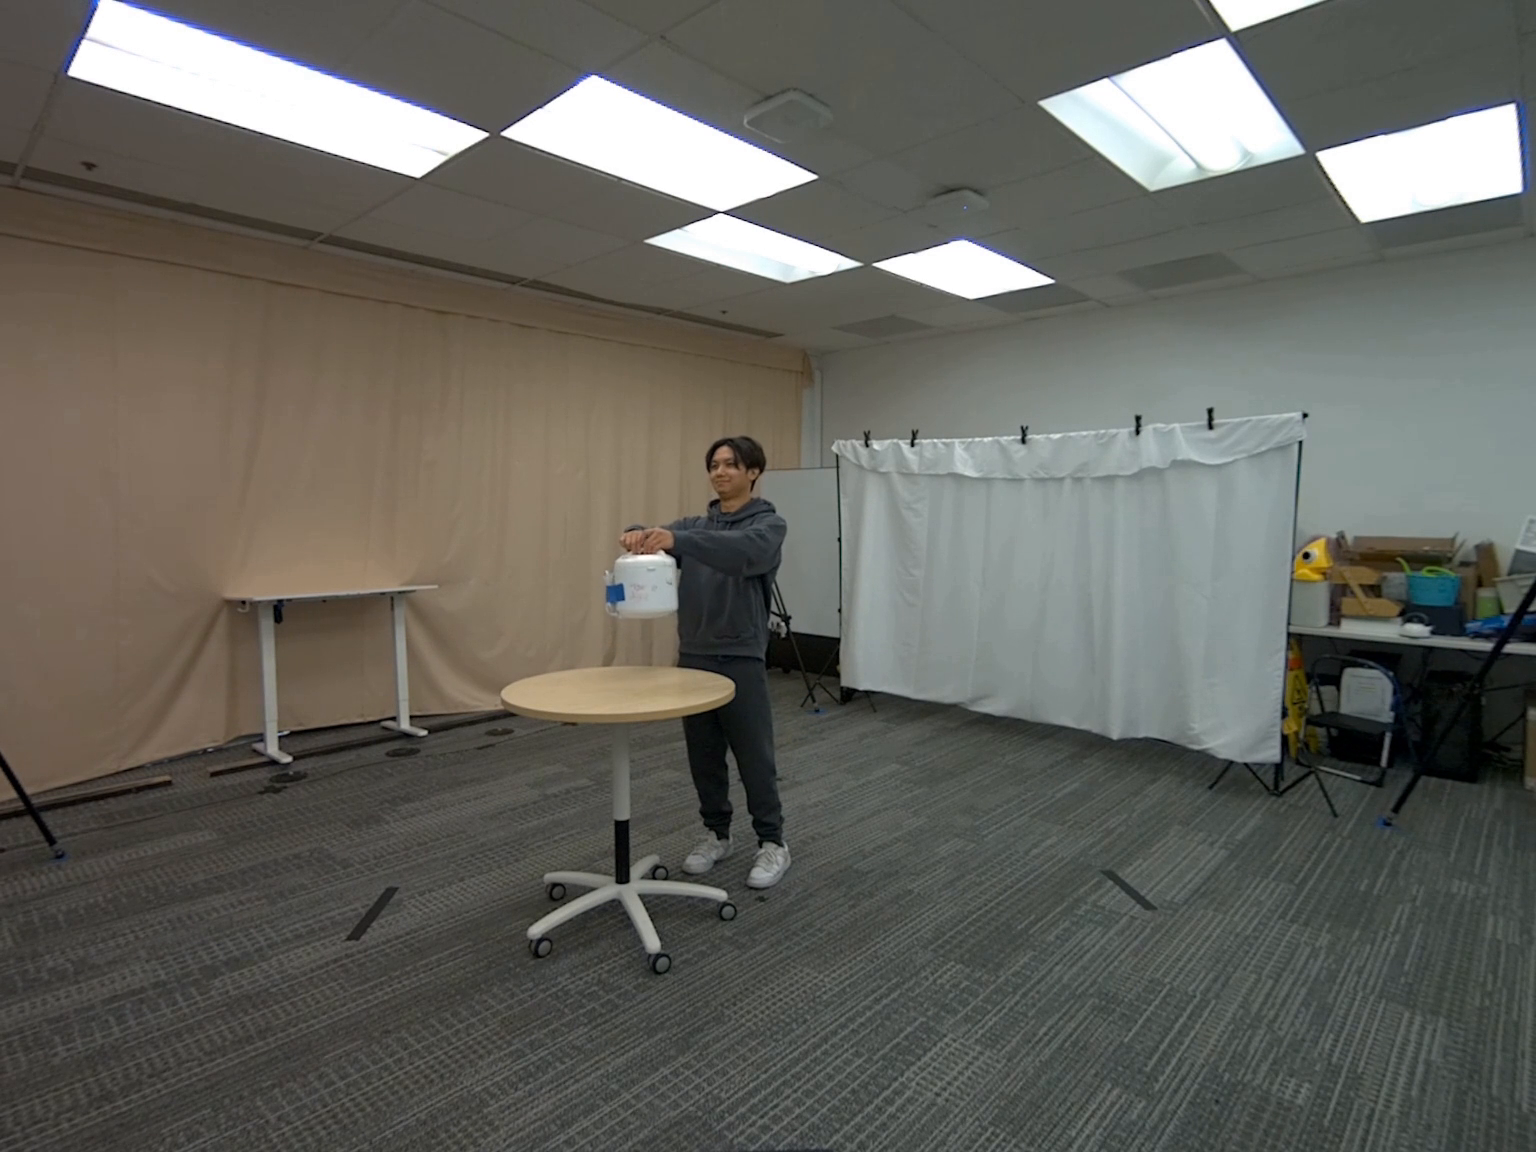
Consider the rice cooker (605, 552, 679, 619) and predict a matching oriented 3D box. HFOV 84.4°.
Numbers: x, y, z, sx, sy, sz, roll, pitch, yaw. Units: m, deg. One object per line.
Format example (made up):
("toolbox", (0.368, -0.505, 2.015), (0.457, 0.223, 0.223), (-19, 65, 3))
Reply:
("rice cooker", (-0.408, 0.022, 2.813), (0.227, 0.233, 0.211), (-1, 0, 34))
